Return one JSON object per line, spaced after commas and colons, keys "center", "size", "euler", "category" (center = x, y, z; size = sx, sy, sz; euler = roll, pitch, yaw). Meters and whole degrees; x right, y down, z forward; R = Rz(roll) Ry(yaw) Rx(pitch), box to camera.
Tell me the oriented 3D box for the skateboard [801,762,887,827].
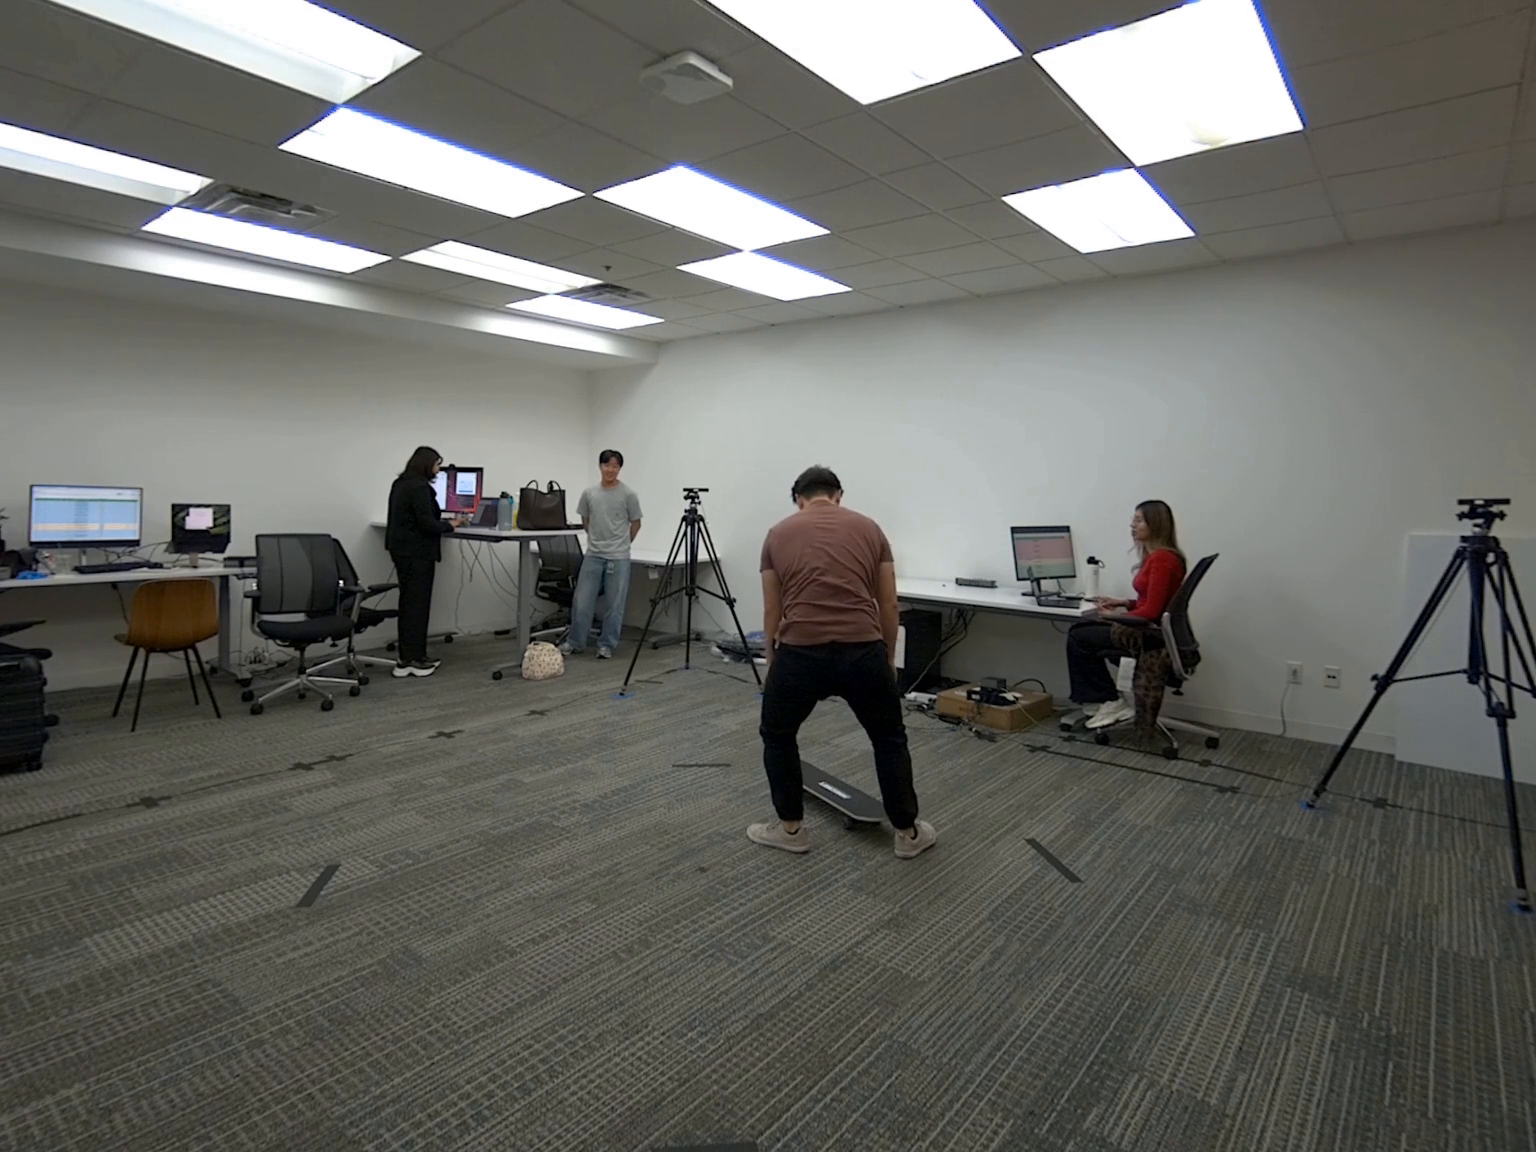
{"center": [0.279, 0.961, 3.719], "size": [0.188, 0.110, 0.810], "euler": [-4, 8, -30], "category": "skateboard"}
